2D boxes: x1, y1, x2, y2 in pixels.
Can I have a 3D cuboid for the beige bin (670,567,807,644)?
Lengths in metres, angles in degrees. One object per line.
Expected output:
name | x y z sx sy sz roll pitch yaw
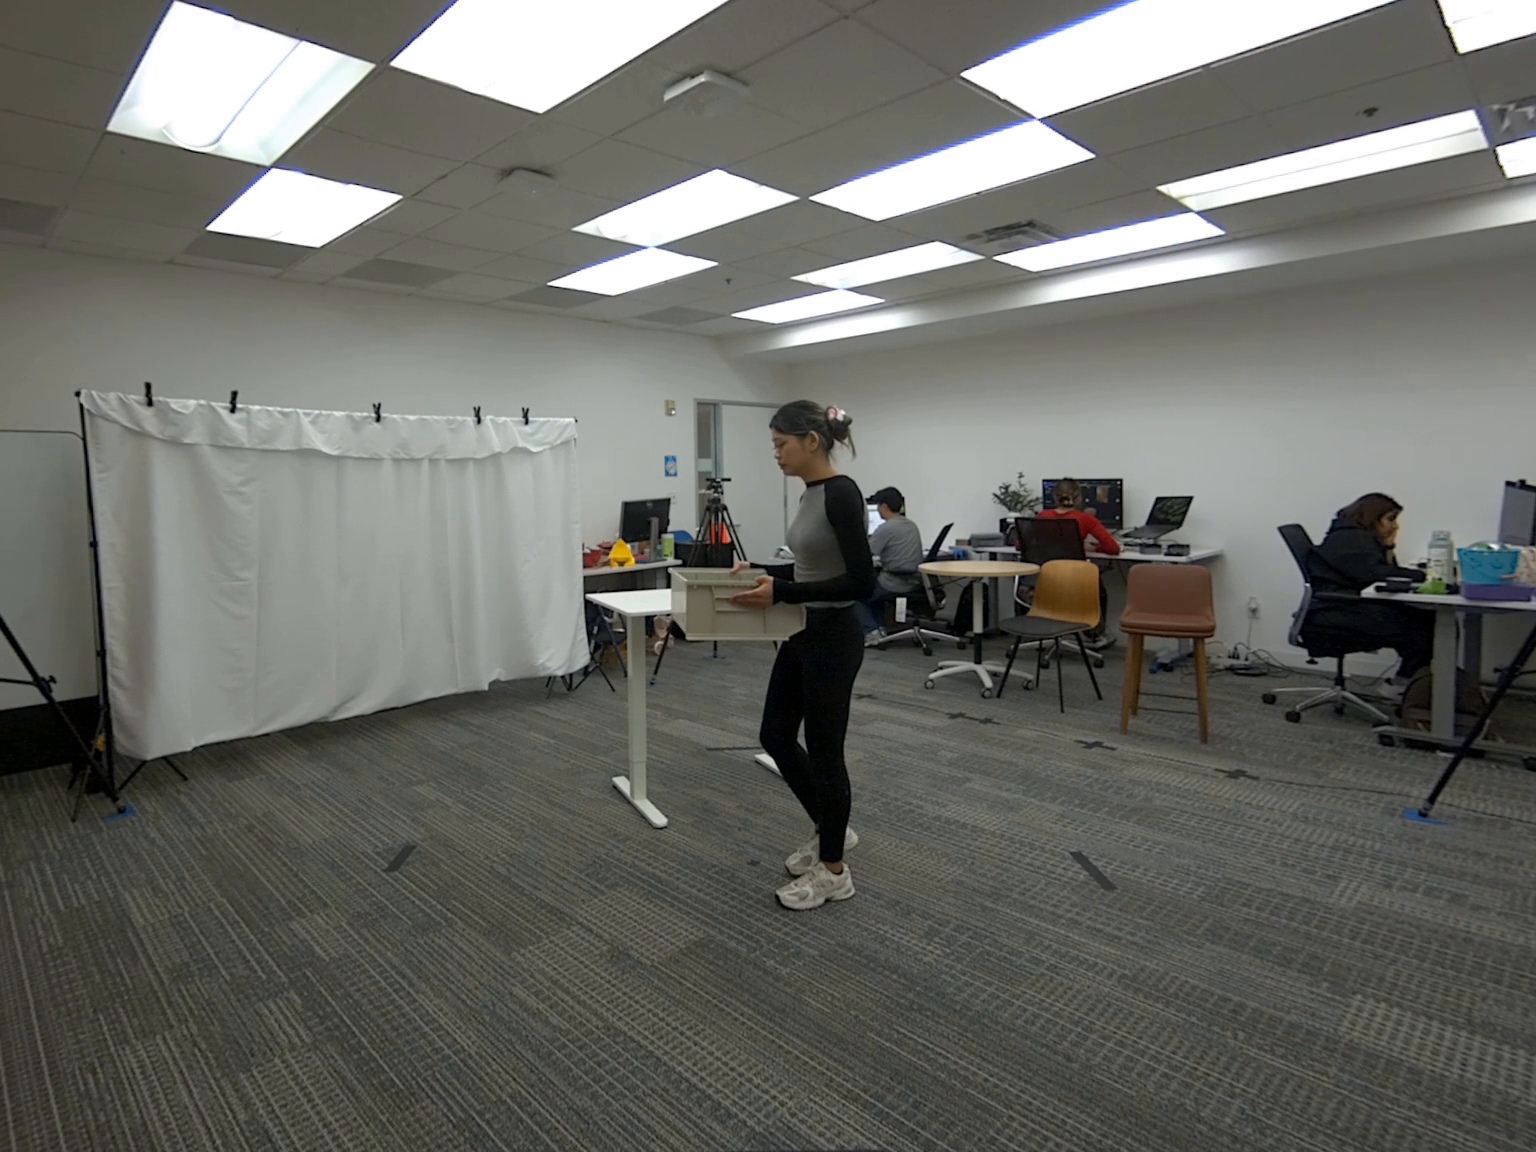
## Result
beige bin | -0.106 0.084 2.772 0.373 0.188 0.429 -2 6 -13
